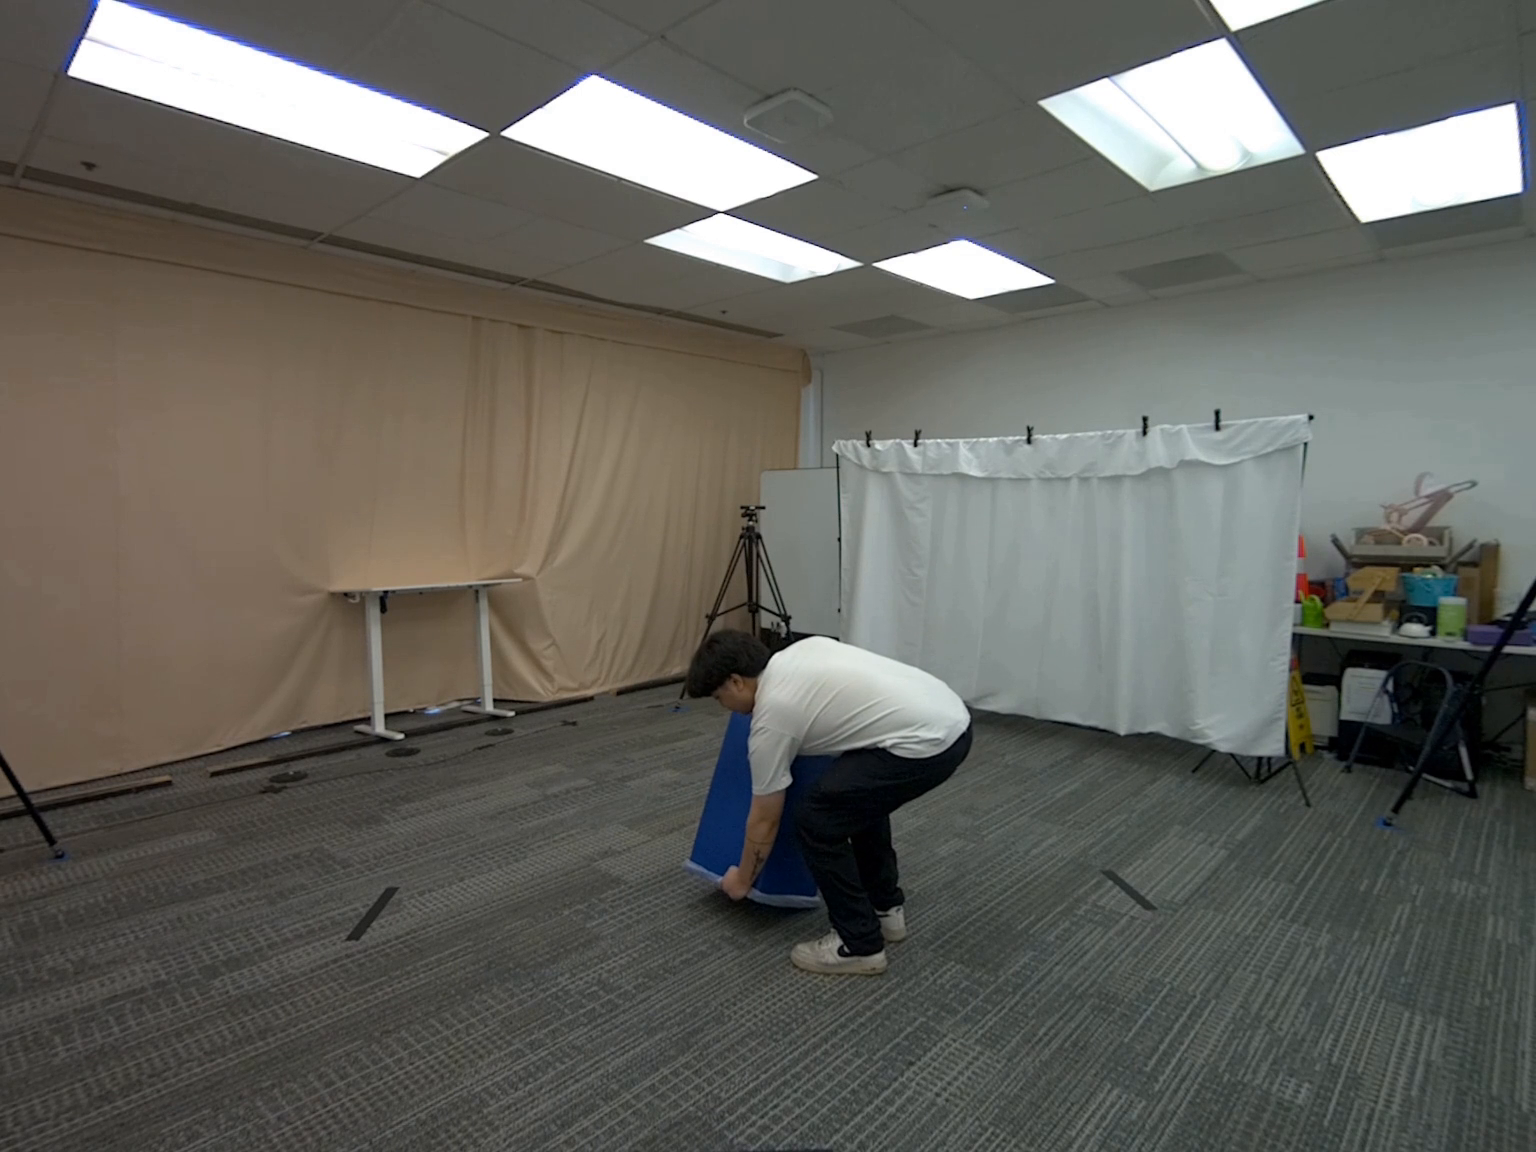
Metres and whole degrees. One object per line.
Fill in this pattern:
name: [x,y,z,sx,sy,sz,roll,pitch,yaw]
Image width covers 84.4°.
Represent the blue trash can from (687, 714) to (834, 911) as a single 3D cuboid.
blue trash can: [0.034,0.751,3.015,0.390,0.716,0.360,3,-19,44]
